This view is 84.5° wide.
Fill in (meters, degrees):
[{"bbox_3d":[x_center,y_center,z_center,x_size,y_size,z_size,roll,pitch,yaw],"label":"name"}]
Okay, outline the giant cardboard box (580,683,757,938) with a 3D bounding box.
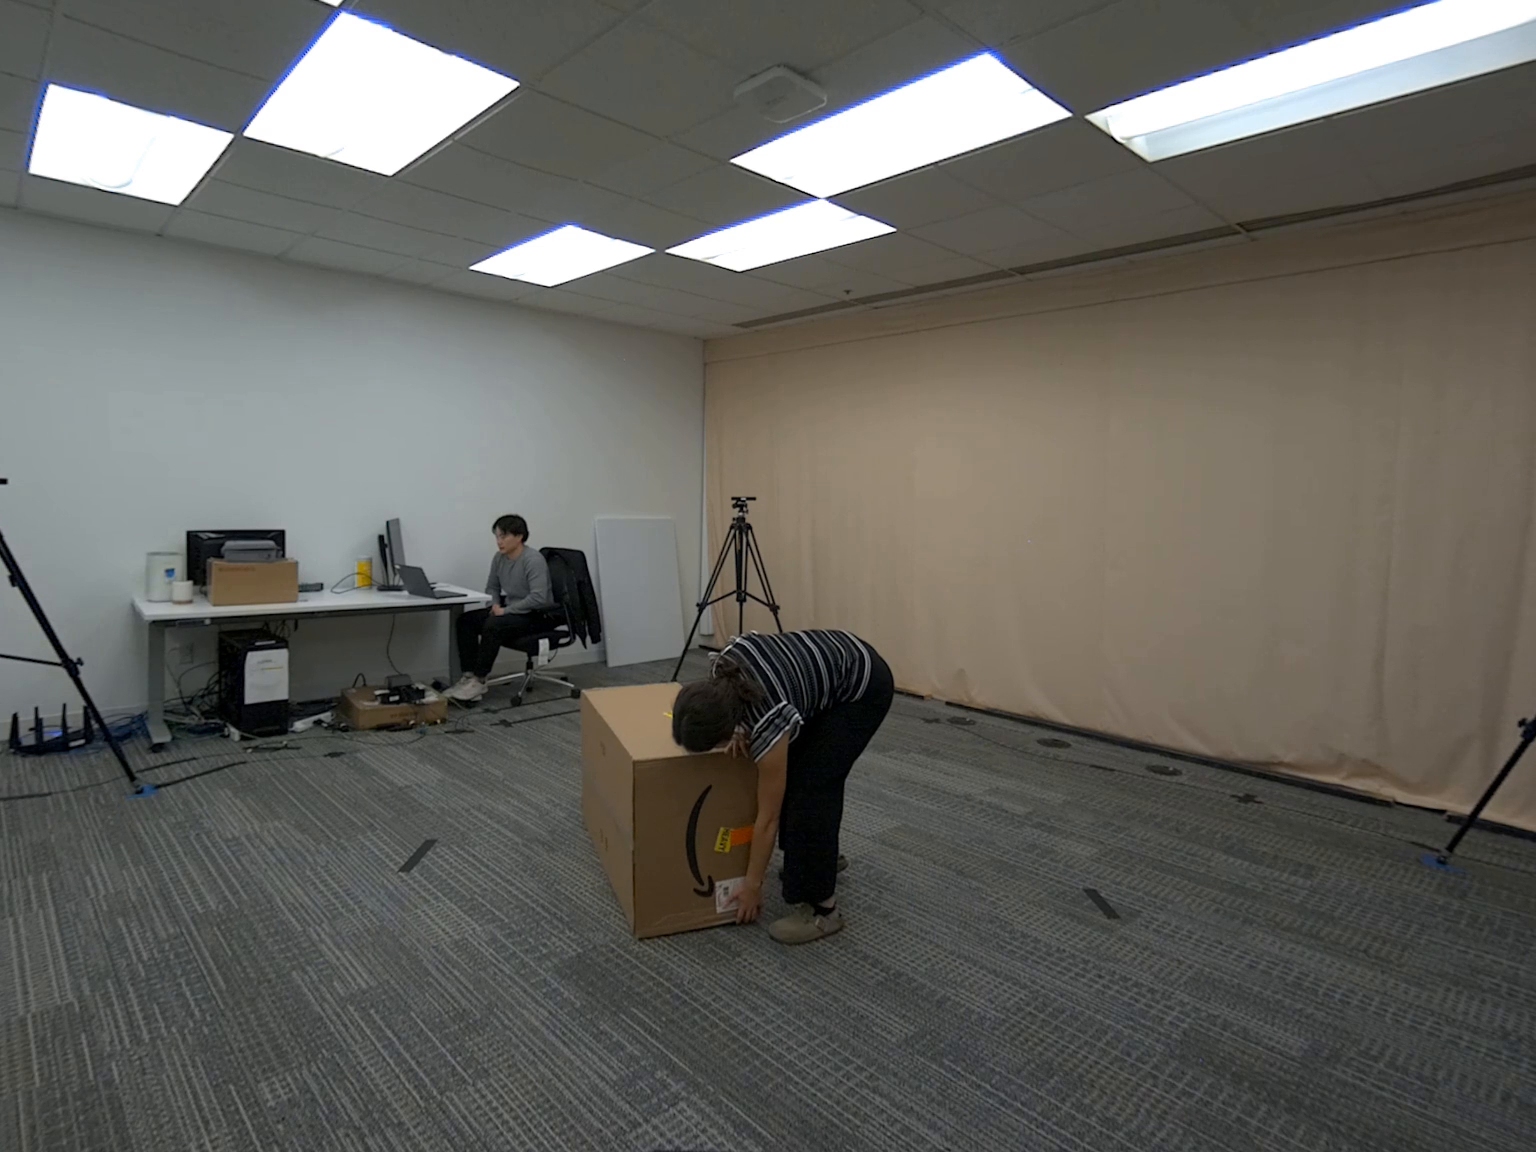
[{"bbox_3d":[-0.418,0.804,3.166,0.420,0.576,1.044,-1,5,-20],"label":"giant cardboard box"}]
